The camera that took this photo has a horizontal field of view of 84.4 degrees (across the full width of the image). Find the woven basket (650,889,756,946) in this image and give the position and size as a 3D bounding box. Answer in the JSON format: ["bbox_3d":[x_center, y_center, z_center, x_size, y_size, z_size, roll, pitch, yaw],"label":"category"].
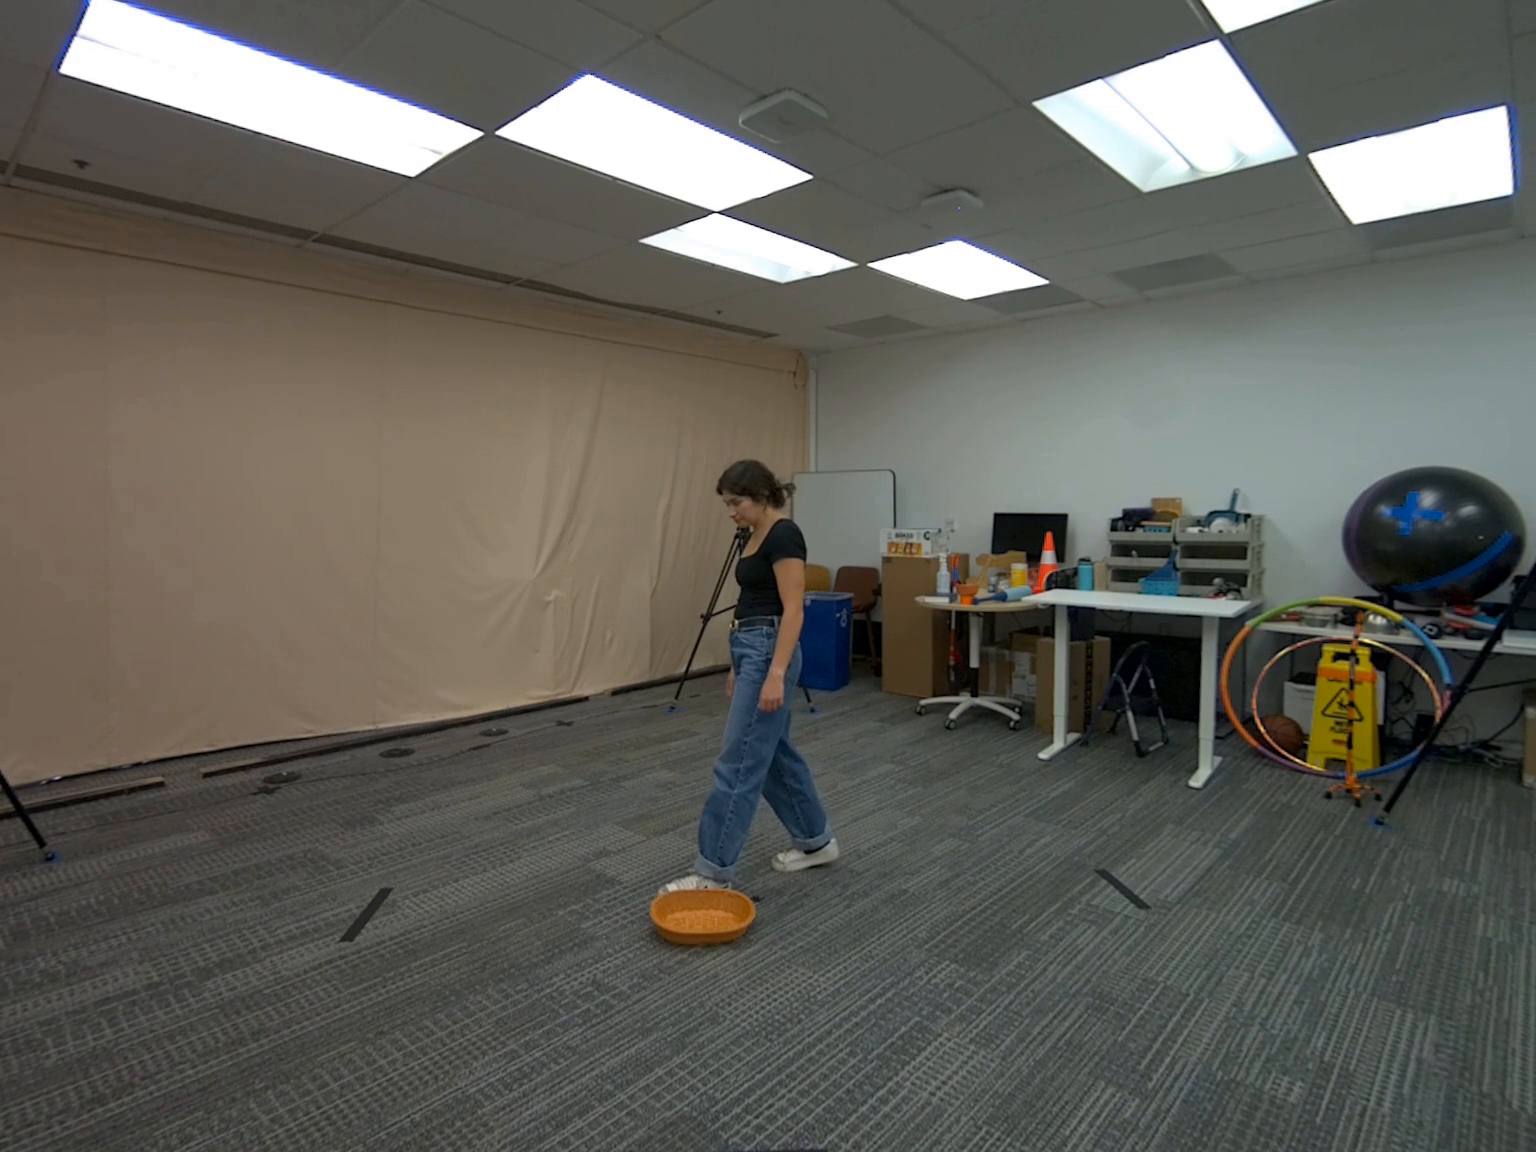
[{"bbox_3d":[-0.213,1.118,2.762,0.349,0.073,0.254,1,9,-4],"label":"woven basket"}]
